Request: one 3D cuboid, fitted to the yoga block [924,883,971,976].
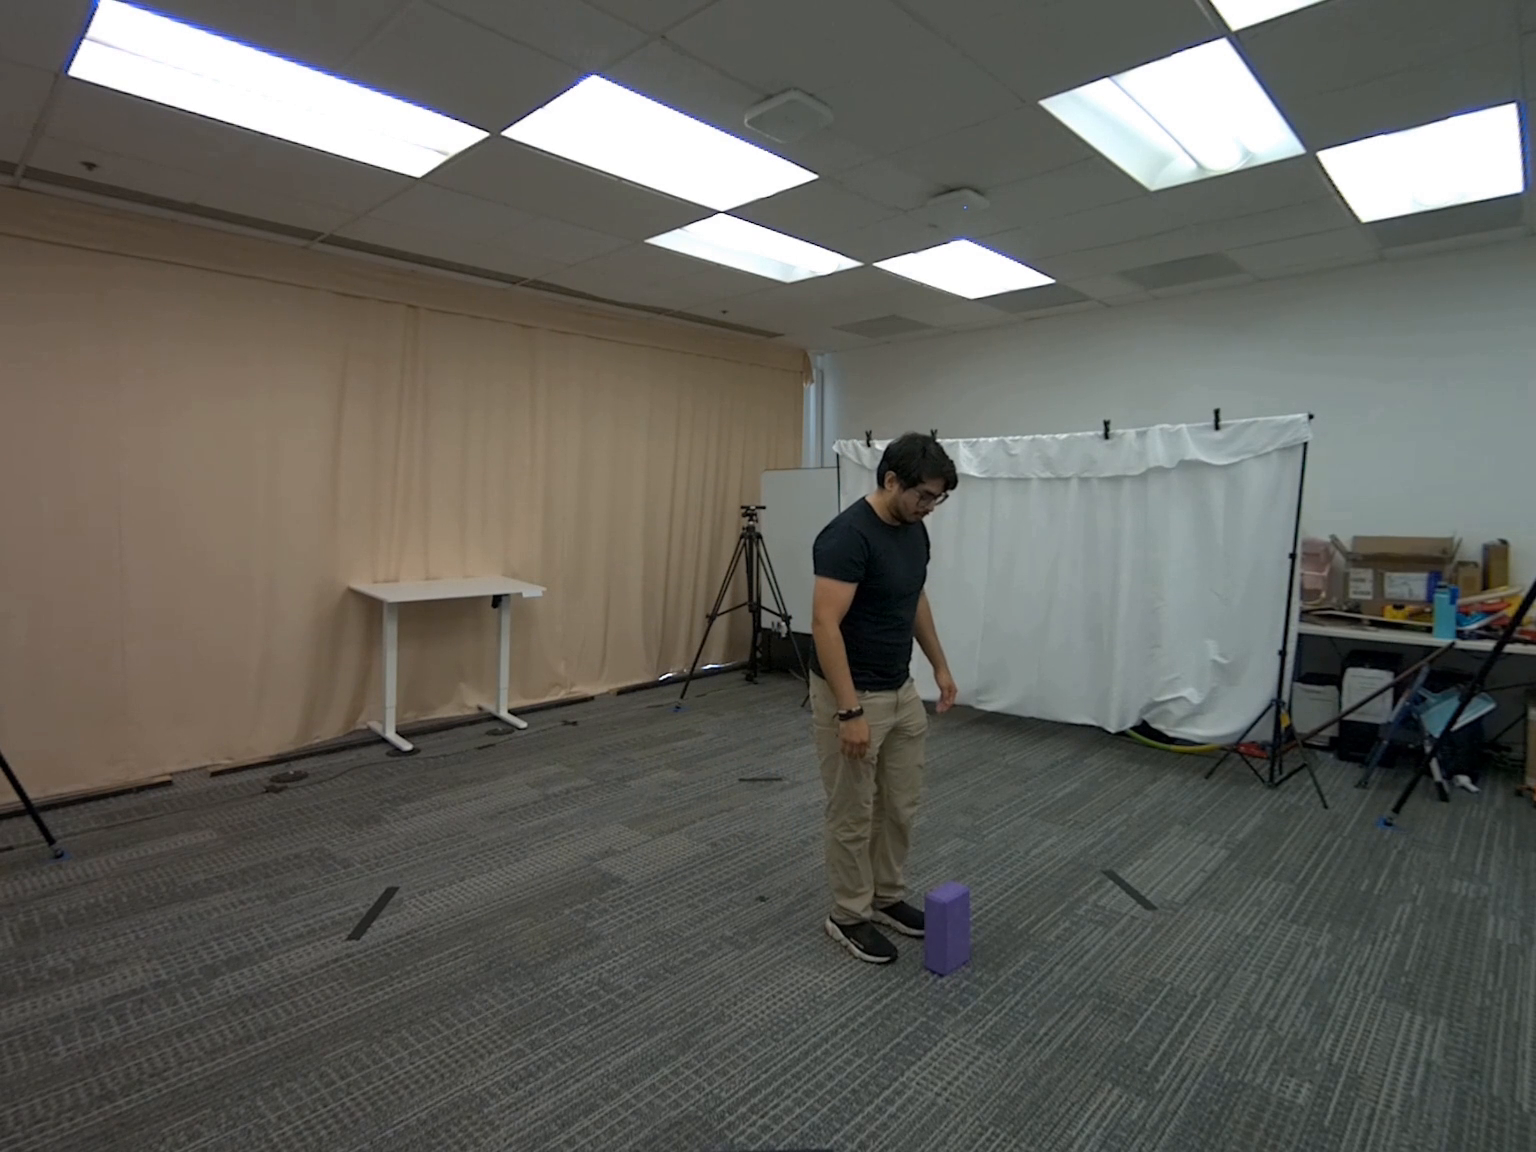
[{"bbox_3d":[0.551,1.062,2.545,0.144,0.229,0.079,-3,3,-43],"label":"yoga block"}]
